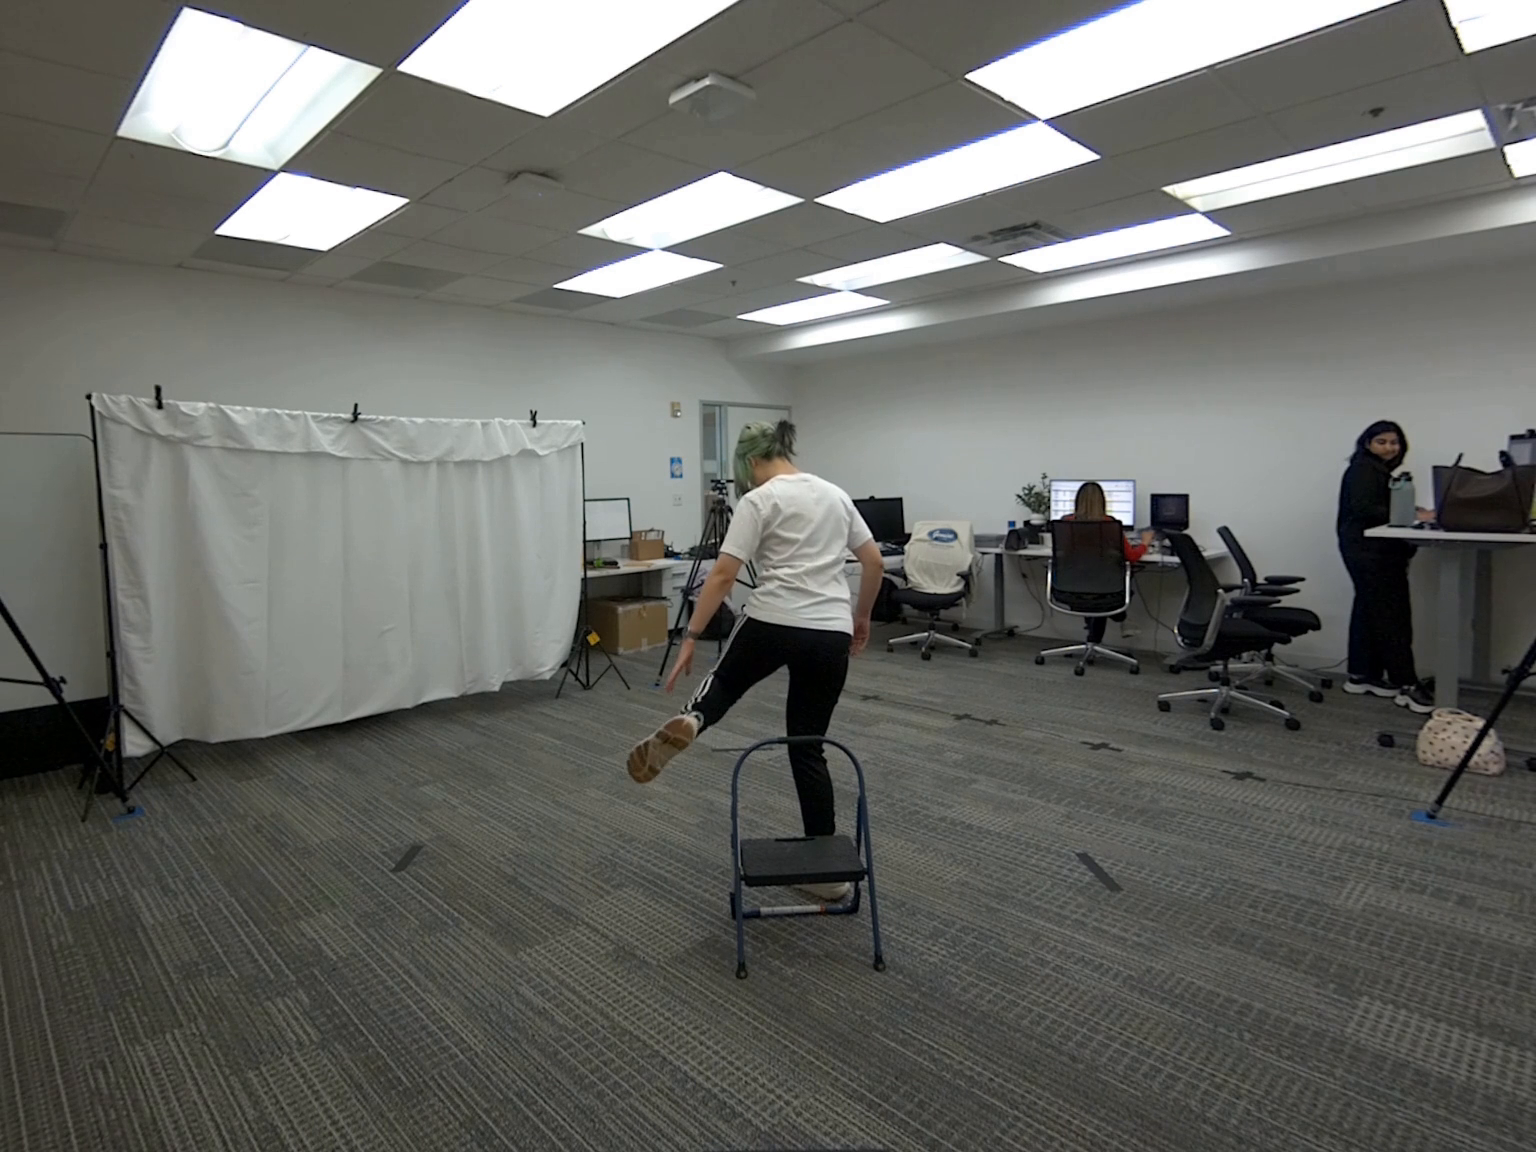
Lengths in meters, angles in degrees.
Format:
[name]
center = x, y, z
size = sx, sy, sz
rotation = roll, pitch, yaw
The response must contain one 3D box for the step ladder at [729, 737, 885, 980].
[step ladder]
center = 0.103, 0.809, 2.560
size = 0.429, 0.603, 0.352
rotation = -1, 5, -5
